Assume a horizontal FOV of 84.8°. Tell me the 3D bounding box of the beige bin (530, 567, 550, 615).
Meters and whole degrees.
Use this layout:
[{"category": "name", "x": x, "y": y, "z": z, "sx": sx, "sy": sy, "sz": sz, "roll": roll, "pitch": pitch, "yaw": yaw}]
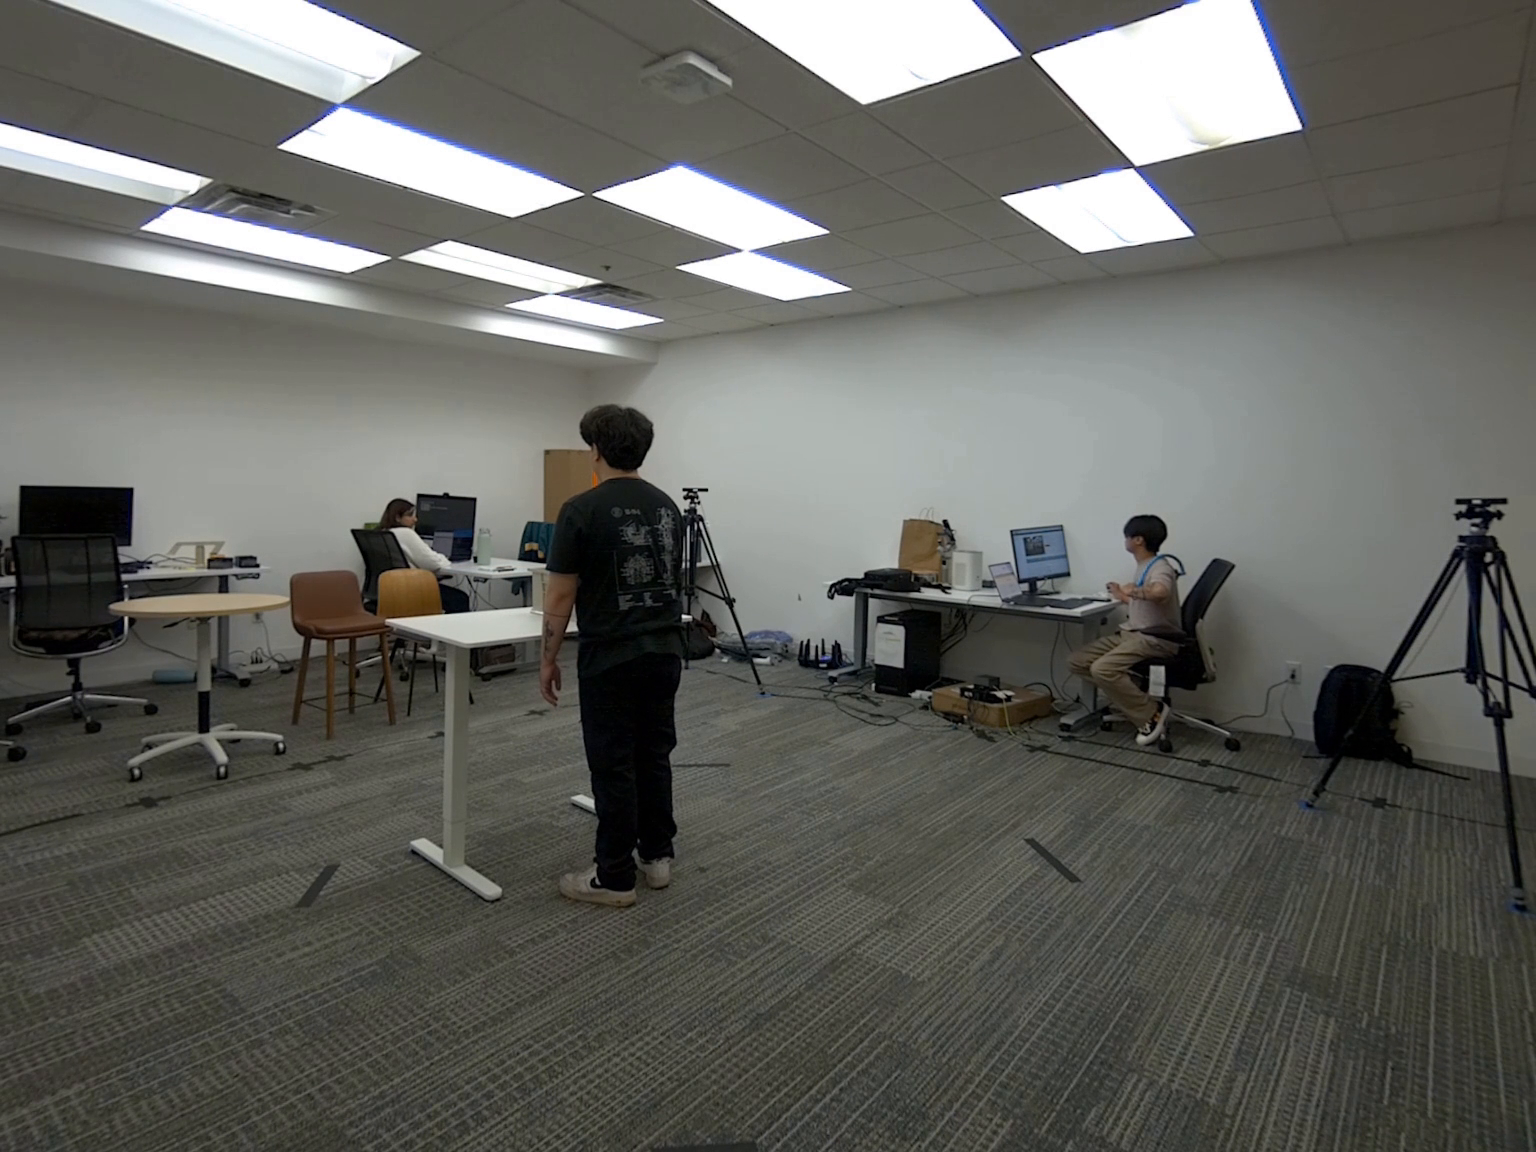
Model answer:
[{"category": "beige bin", "x": -0.690, "y": 0.063, "z": 3.429, "sx": 0.390, "sy": 0.188, "sz": 0.410, "roll": 5, "pitch": 6, "yaw": 41}]
